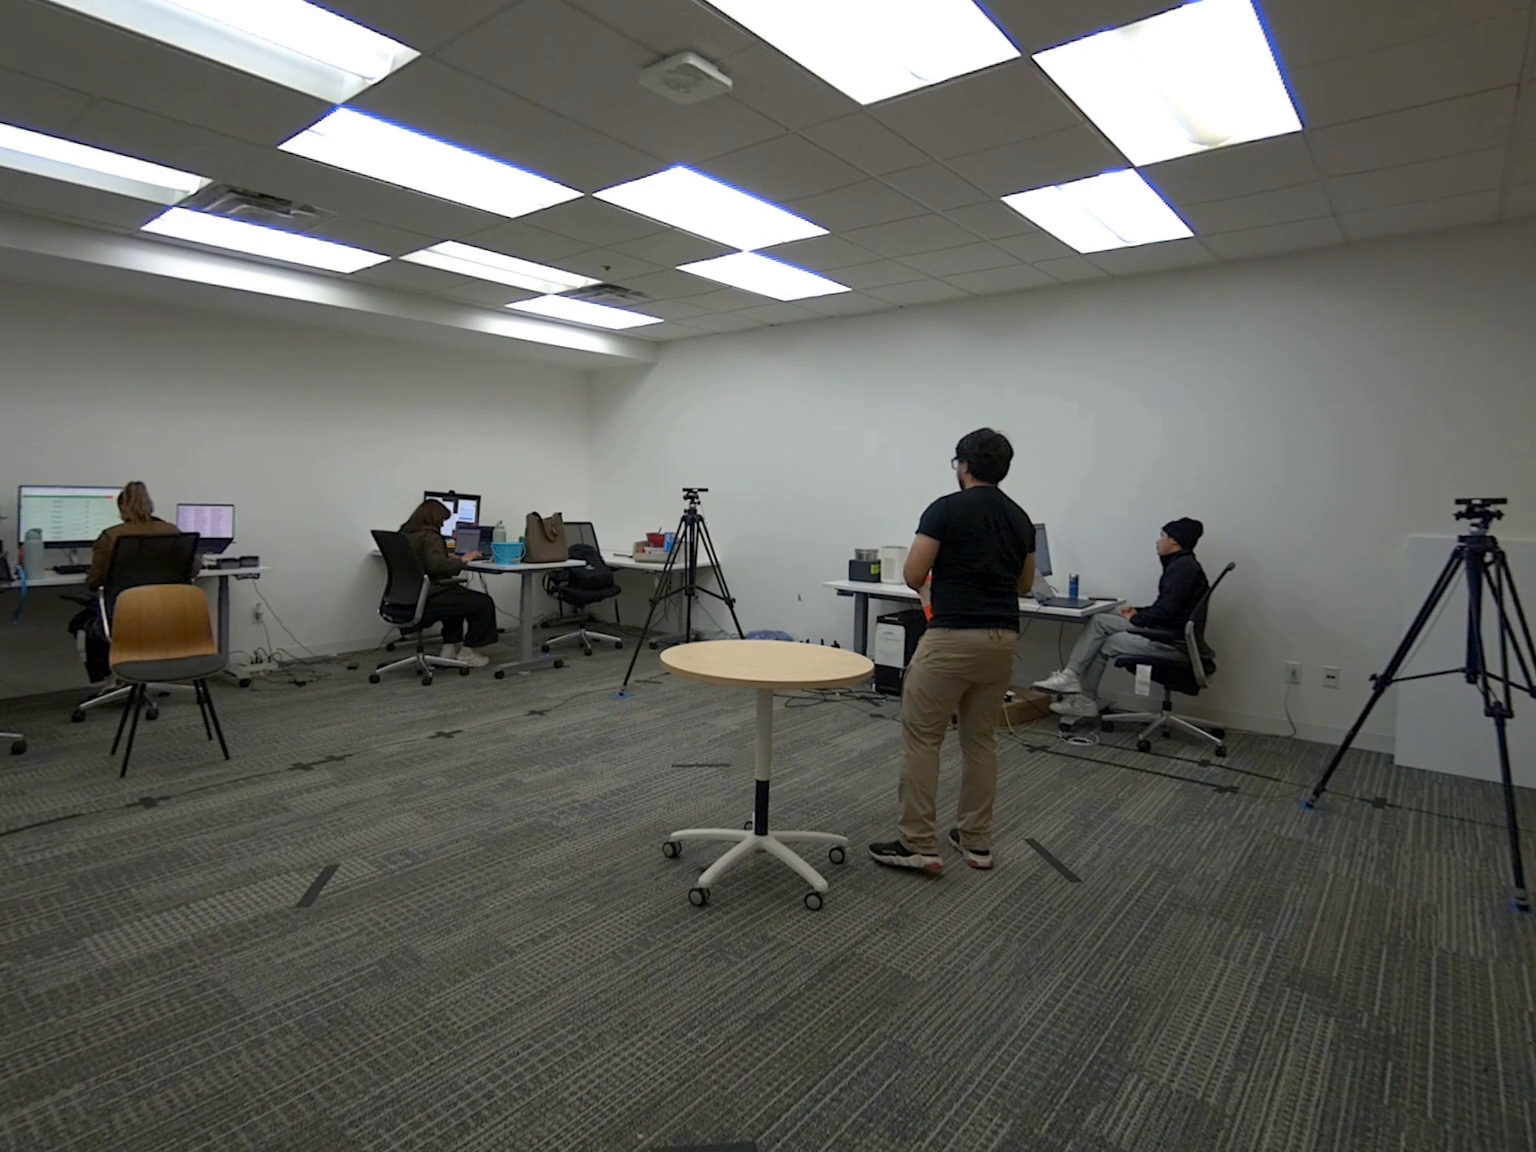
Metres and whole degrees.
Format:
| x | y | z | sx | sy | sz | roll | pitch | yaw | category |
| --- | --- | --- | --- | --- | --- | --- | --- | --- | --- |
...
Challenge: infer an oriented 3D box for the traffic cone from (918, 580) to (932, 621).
| x | y | z | sx | sy | sz | roll | pitch | yaw | category |
| --- | --- | --- | --- | --- | --- | --- | --- | --- | --- |
| 0.680 | 0.083 | 3.550 | 0.201 | 0.387 | 0.205 | -24 | -6 | -15 | traffic cone |
